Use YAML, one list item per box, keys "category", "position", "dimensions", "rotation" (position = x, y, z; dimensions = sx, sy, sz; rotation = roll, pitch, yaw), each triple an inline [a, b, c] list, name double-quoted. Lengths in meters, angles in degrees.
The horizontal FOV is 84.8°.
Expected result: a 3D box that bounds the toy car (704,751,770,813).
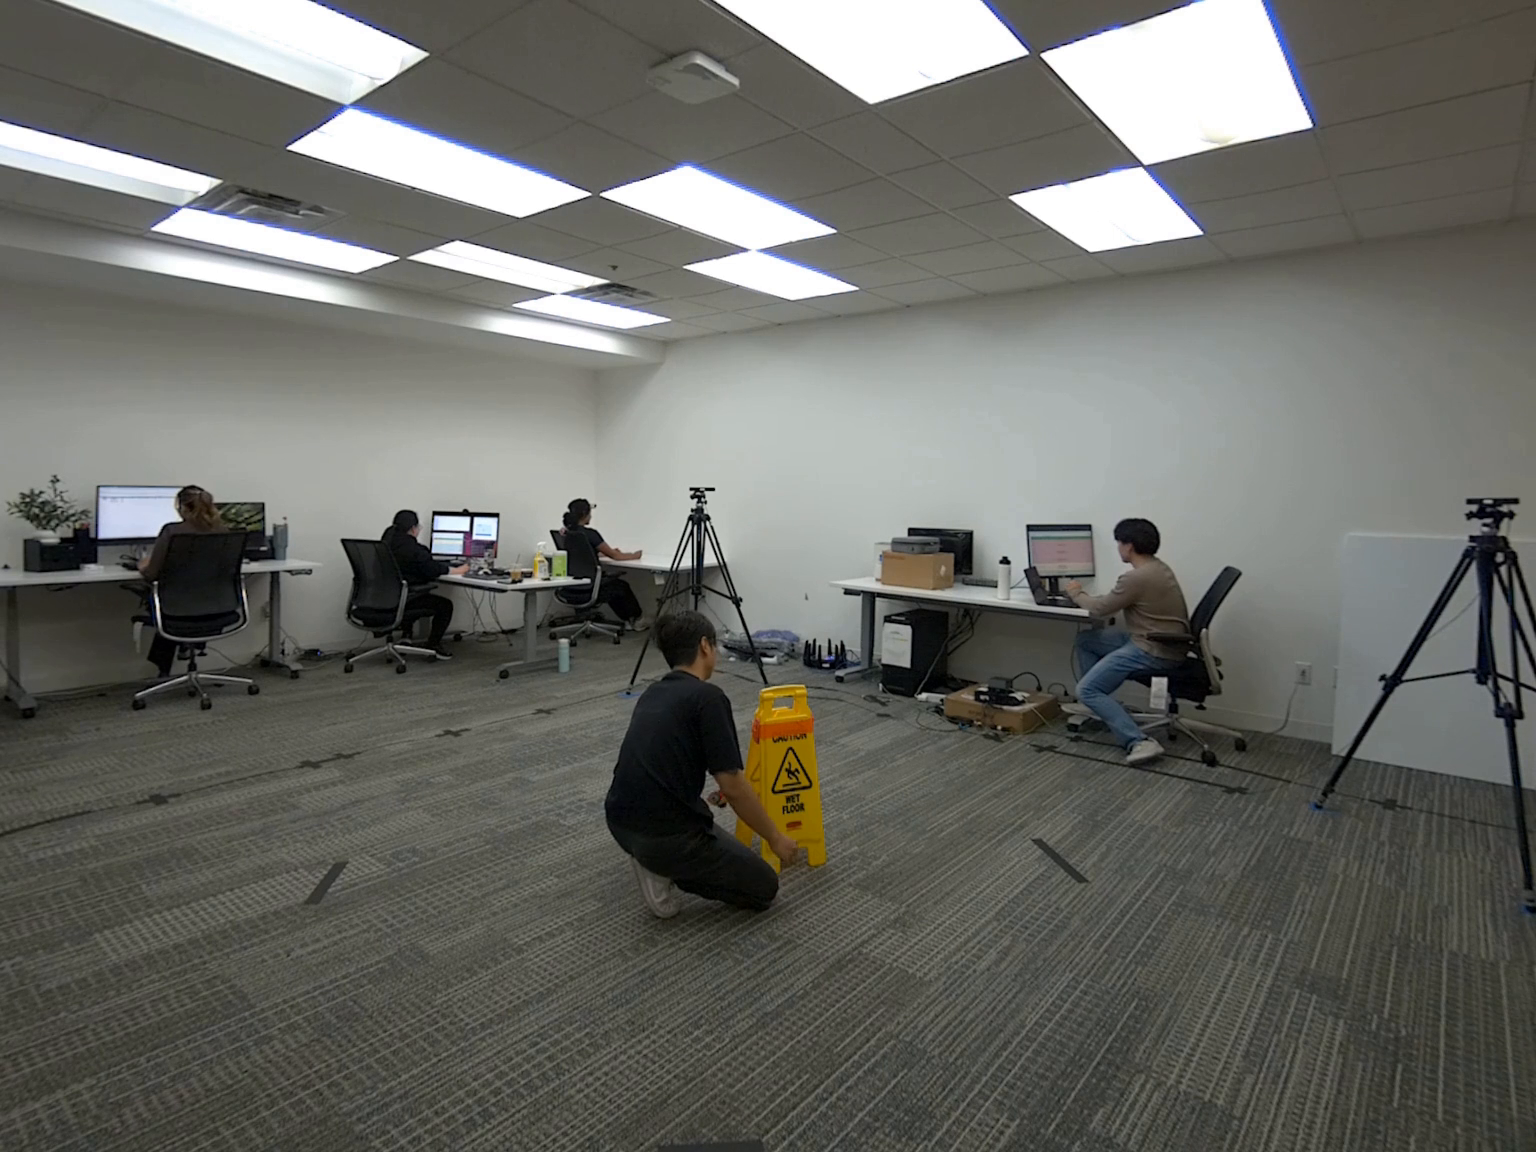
- category: "toy car"
  position: [-0.133, 0.826, 3.381]
  dimensions: [0.254, 0.086, 0.126]
  rotation: [-36, -27, -3]
